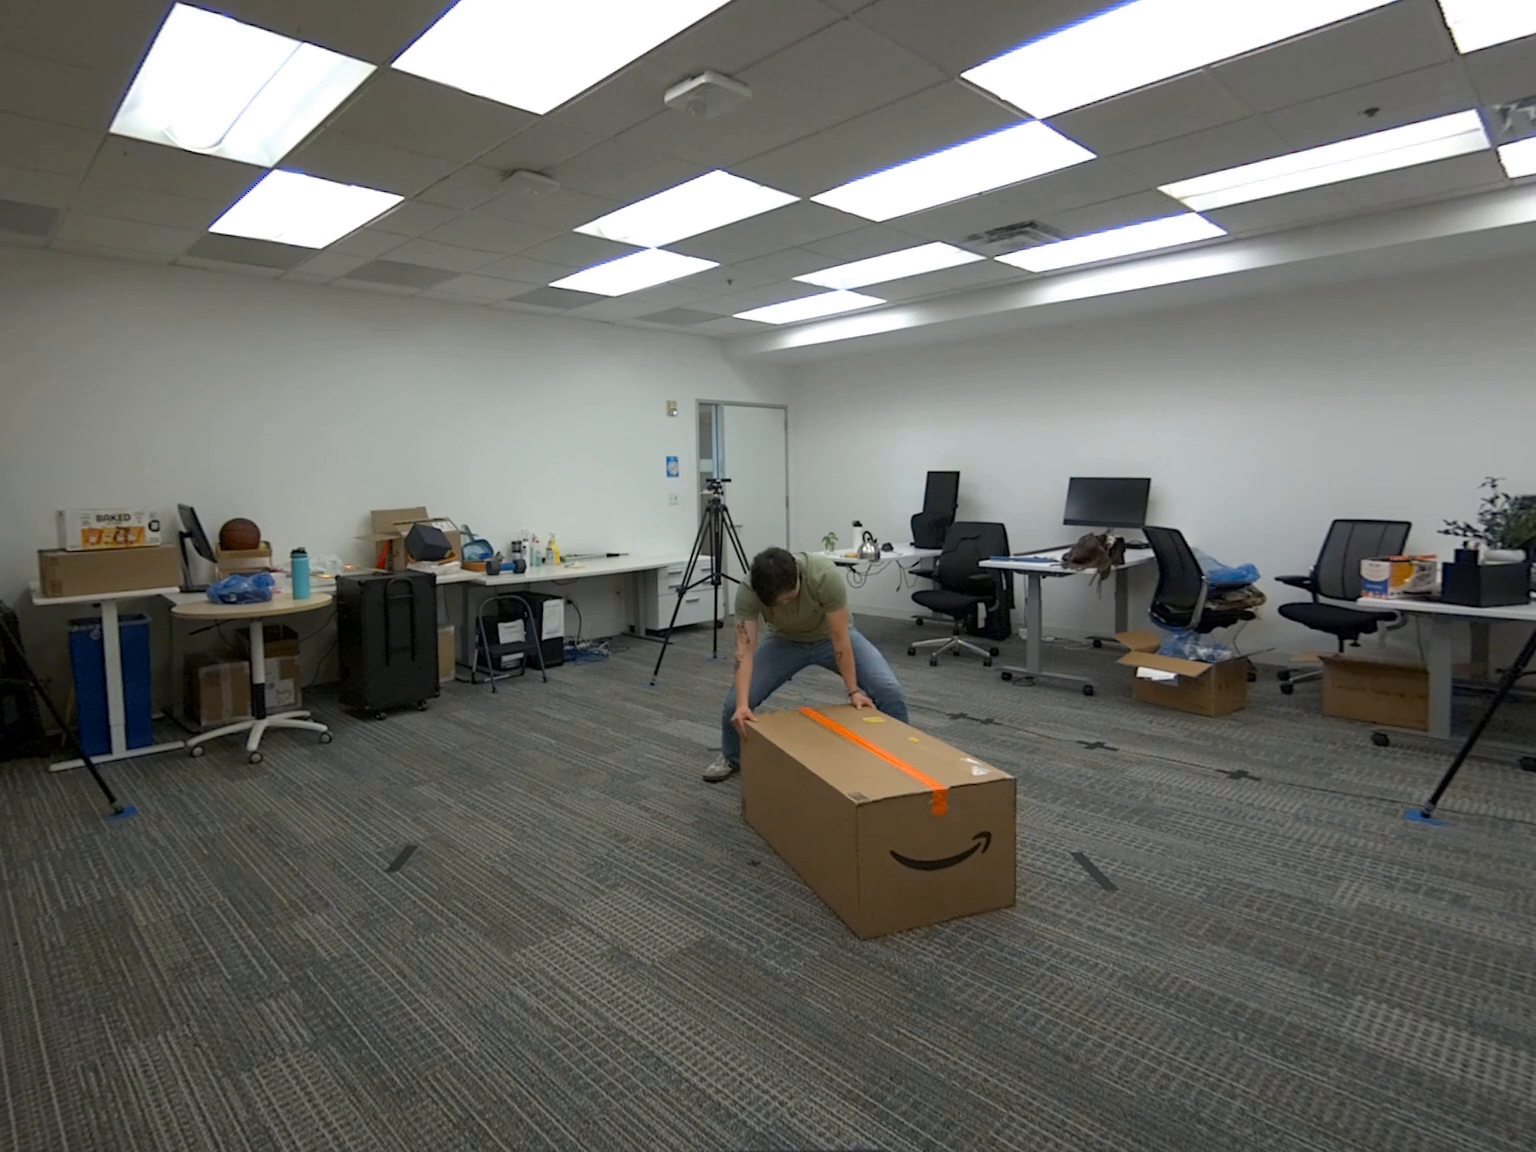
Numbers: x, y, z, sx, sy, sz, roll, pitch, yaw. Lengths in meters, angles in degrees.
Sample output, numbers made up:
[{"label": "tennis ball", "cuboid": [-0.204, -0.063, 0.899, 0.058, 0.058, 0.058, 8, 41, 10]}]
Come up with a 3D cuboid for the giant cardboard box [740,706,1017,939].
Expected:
[{"label": "giant cardboard box", "cuboid": [0.349, 0.822, 3.117, 0.567, 0.425, 1.048, -3, 5, -21]}]
